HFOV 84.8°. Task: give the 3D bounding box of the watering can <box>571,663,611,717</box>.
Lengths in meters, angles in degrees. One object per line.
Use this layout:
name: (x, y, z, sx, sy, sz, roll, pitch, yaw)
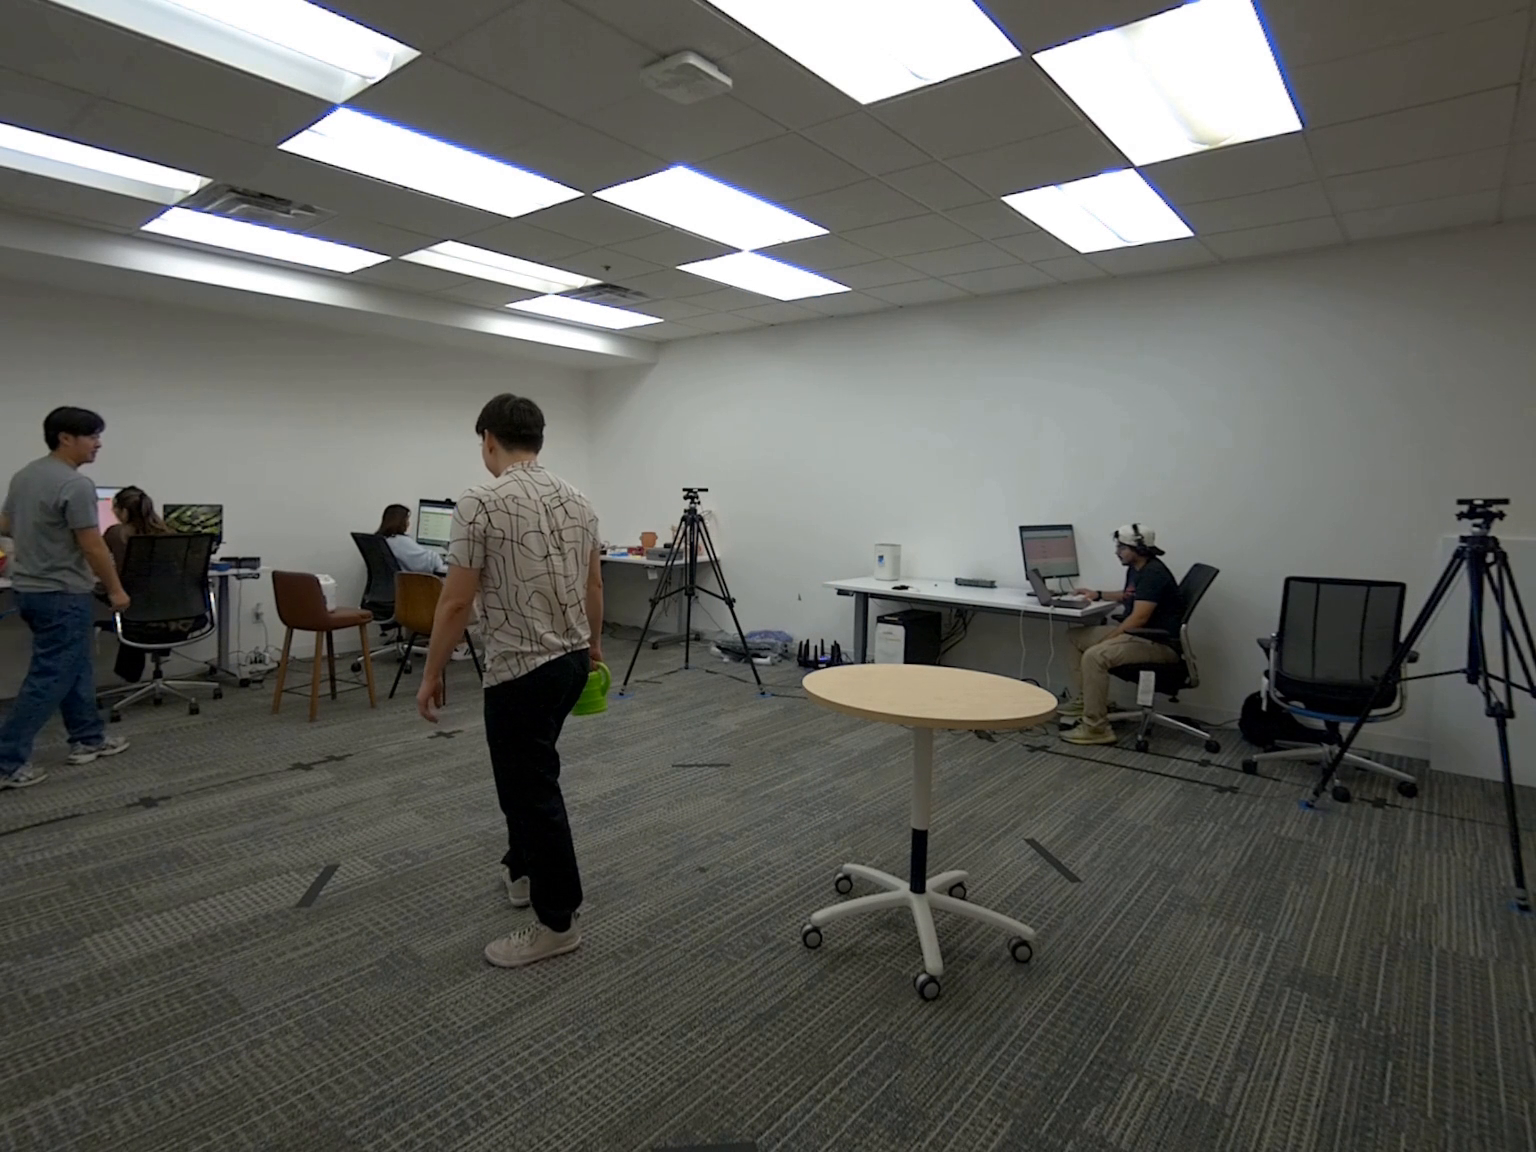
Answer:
watering can: (-0.687, 0.379, 2.905, 0.285, 0.176, 0.096, -6, 3, 27)
